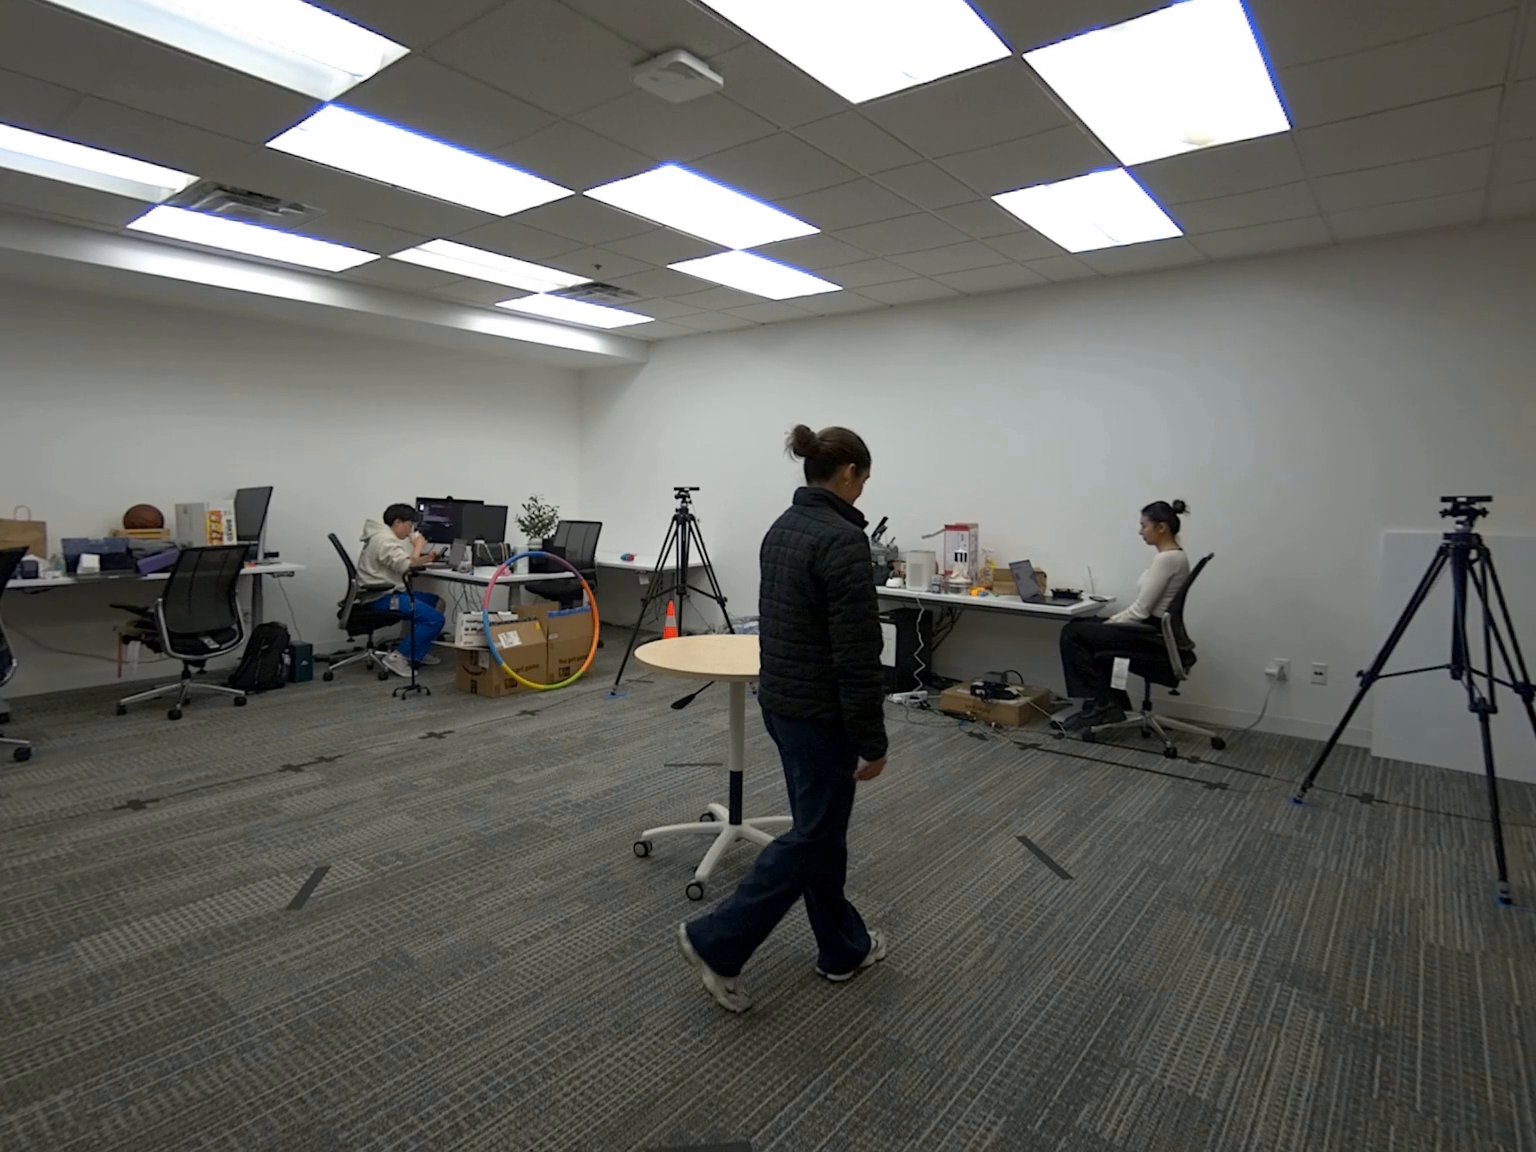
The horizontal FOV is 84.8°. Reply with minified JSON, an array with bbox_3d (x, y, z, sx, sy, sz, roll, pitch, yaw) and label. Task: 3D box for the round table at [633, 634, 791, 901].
[{"bbox_3d":[-0.101,0.667,3.169,0.784,0.784,0.789,0,4,-2],"label":"round table"}]
